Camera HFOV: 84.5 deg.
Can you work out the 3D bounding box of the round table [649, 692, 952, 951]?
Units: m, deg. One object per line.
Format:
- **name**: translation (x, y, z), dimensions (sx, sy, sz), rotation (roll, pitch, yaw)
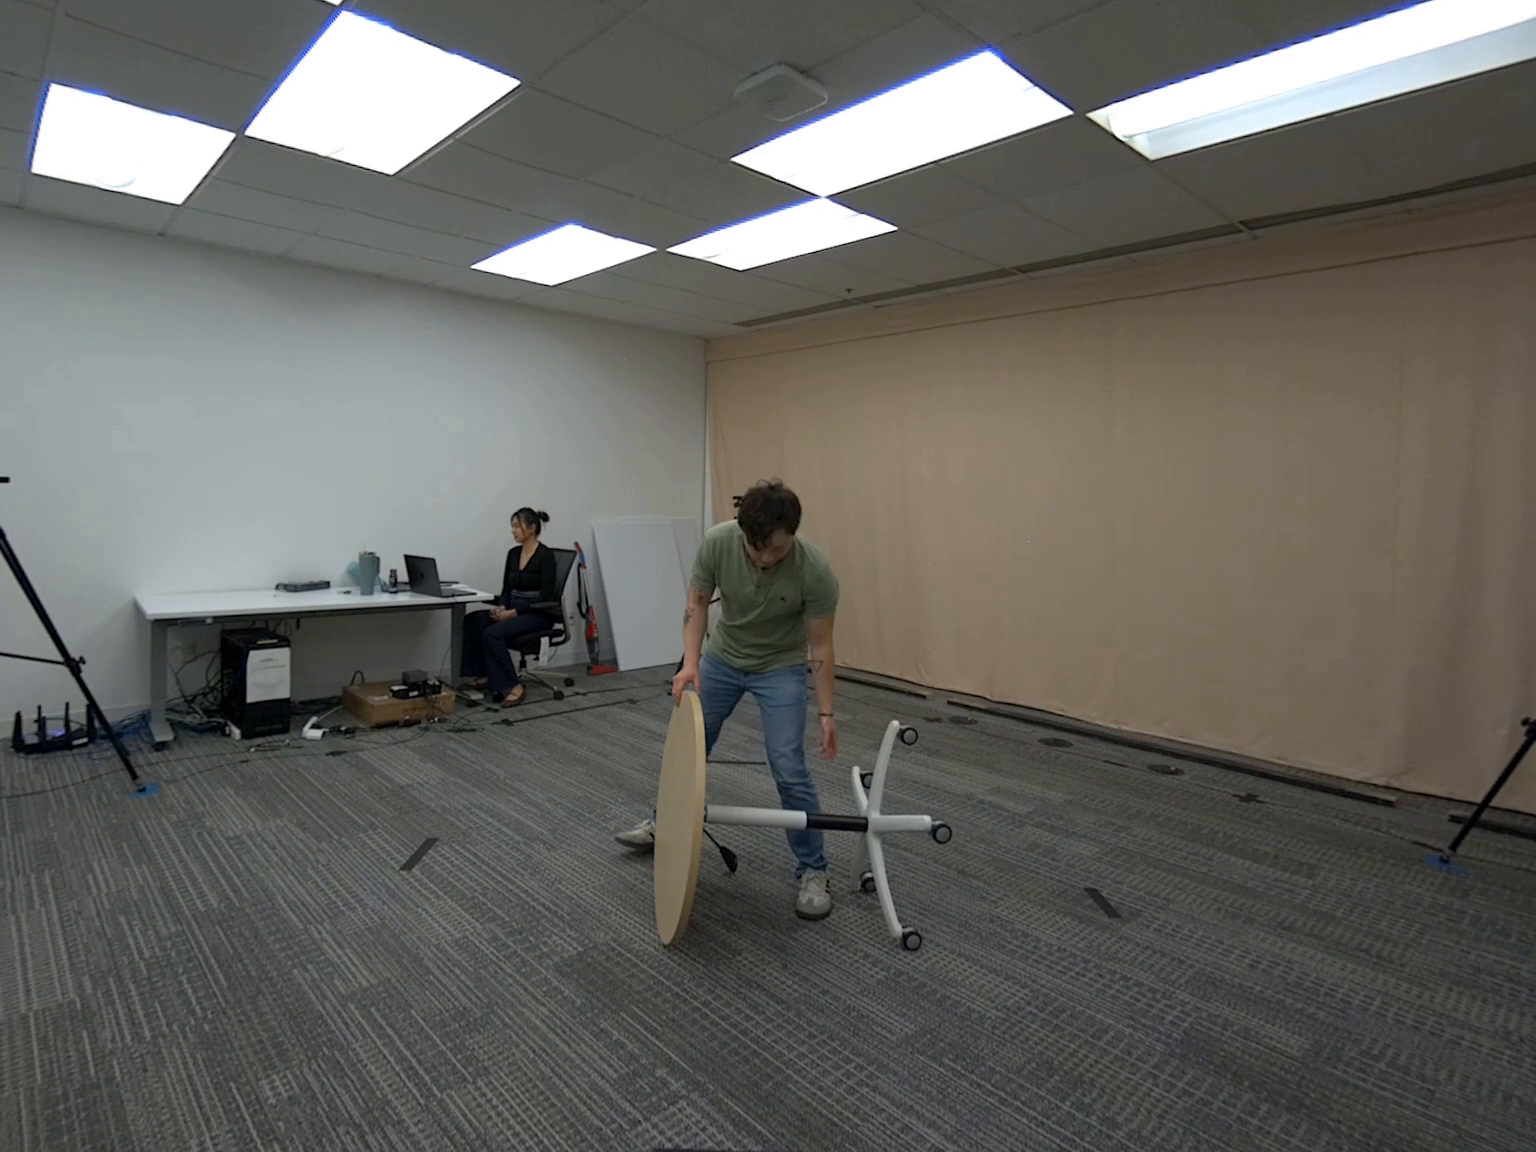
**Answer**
- **round table**: translation (0.075, 0.806, 2.757), dimensions (0.785, 0.763, 0.773), rotation (7, 3, -13)
